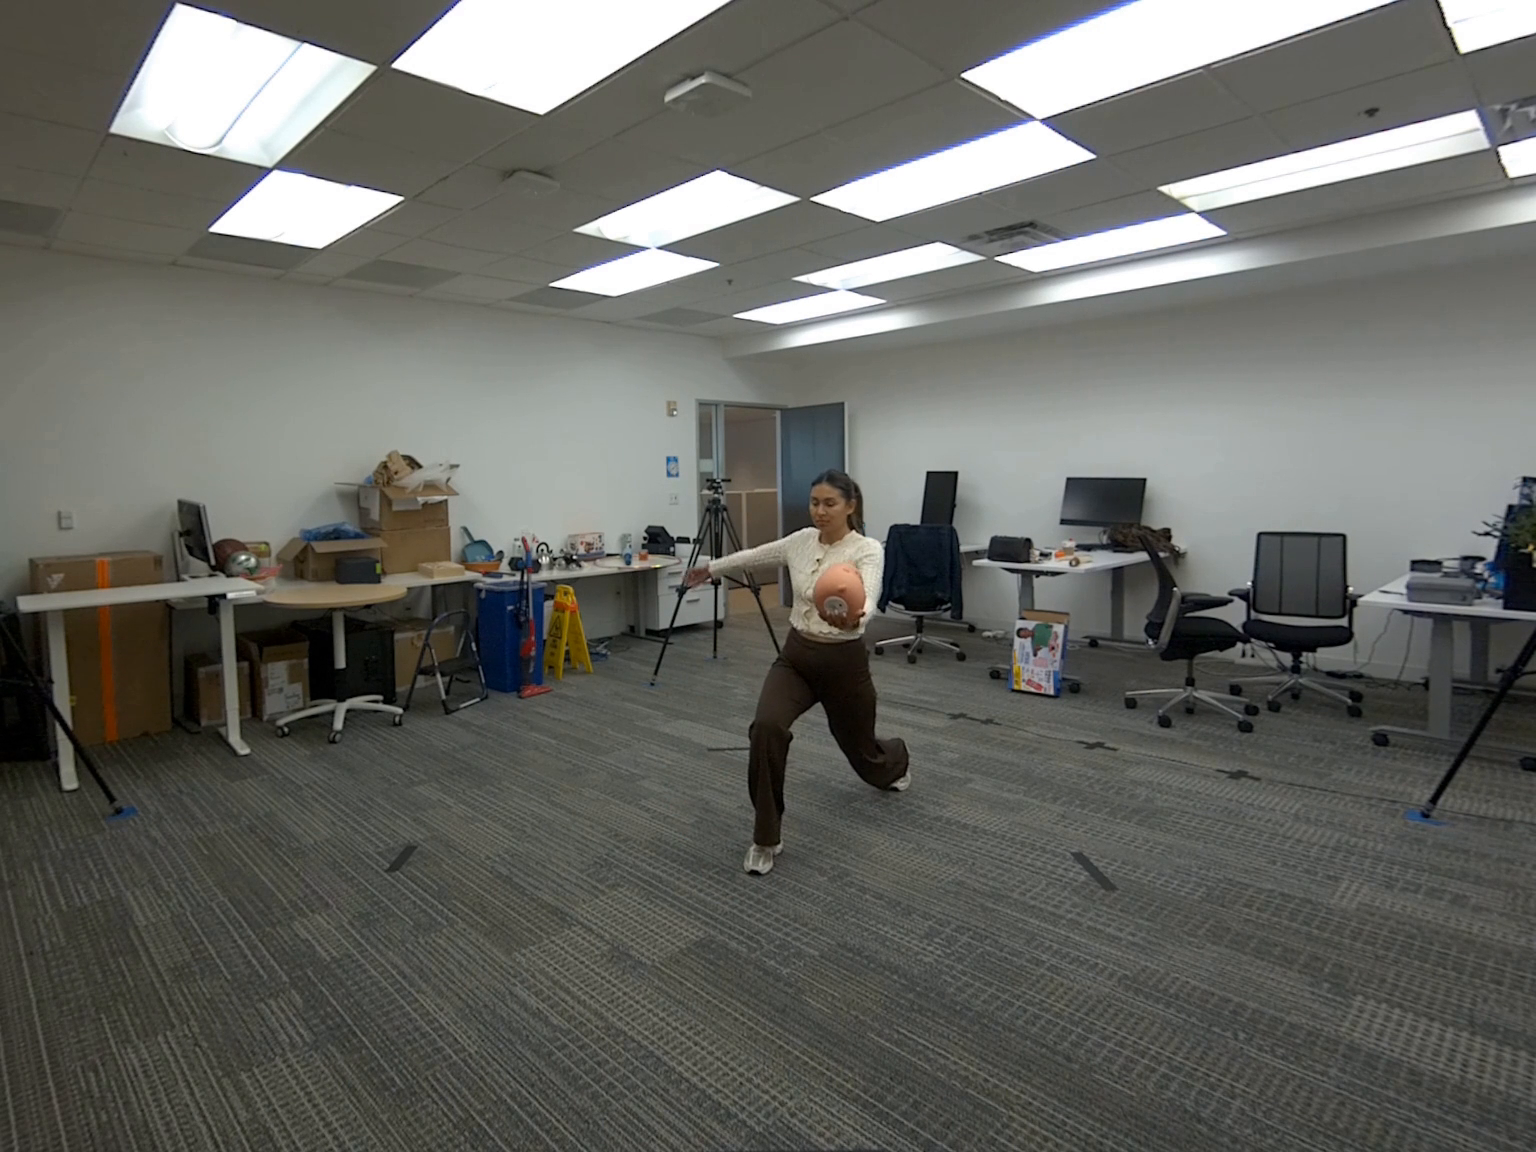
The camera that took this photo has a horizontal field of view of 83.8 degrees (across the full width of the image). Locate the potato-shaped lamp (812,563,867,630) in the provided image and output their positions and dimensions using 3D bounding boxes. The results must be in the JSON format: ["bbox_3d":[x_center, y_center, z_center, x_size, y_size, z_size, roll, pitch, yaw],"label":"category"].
[{"bbox_3d":[0.242,0.046,2.739,0.174,0.161,0.200,-21,24,32],"label":"potato-shaped lamp"}]
